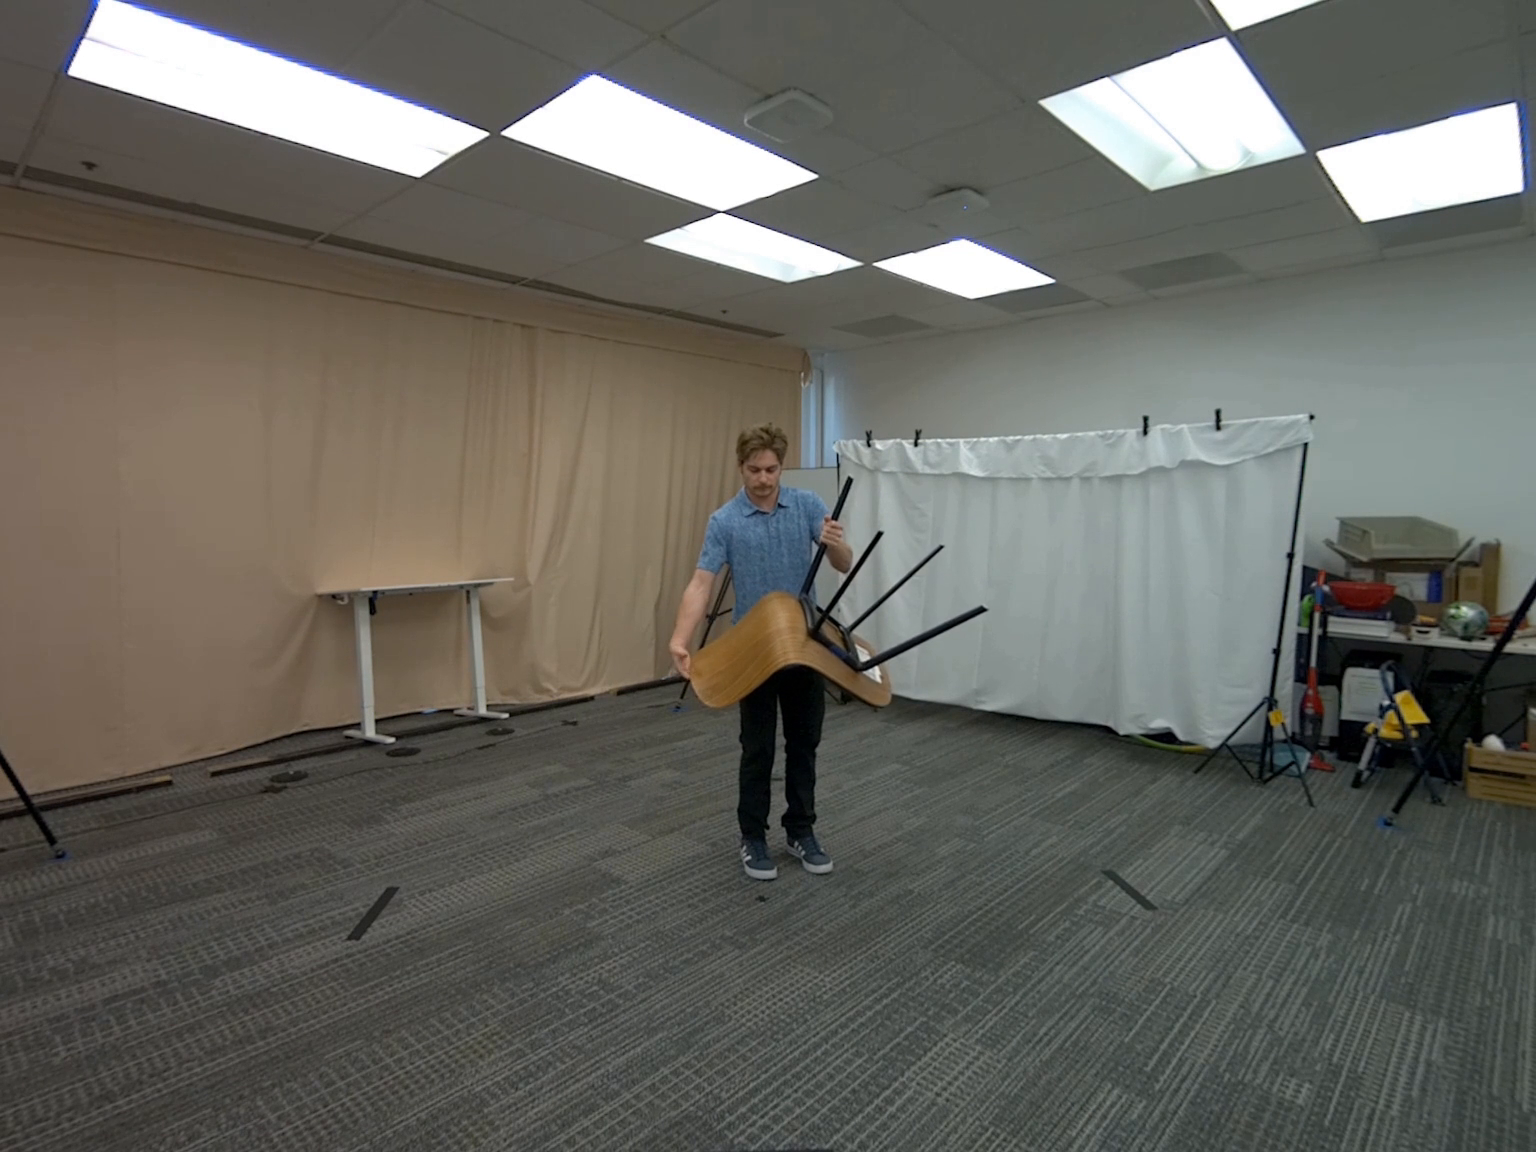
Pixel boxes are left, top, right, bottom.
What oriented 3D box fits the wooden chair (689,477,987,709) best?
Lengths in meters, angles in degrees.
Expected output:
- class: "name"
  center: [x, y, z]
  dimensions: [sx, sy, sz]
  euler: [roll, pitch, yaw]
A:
- class: "wooden chair"
  center: [0.216, 0.196, 2.862]
  dimensions: [0.510, 0.882, 0.488]
  euler: [38, 18, -22]
